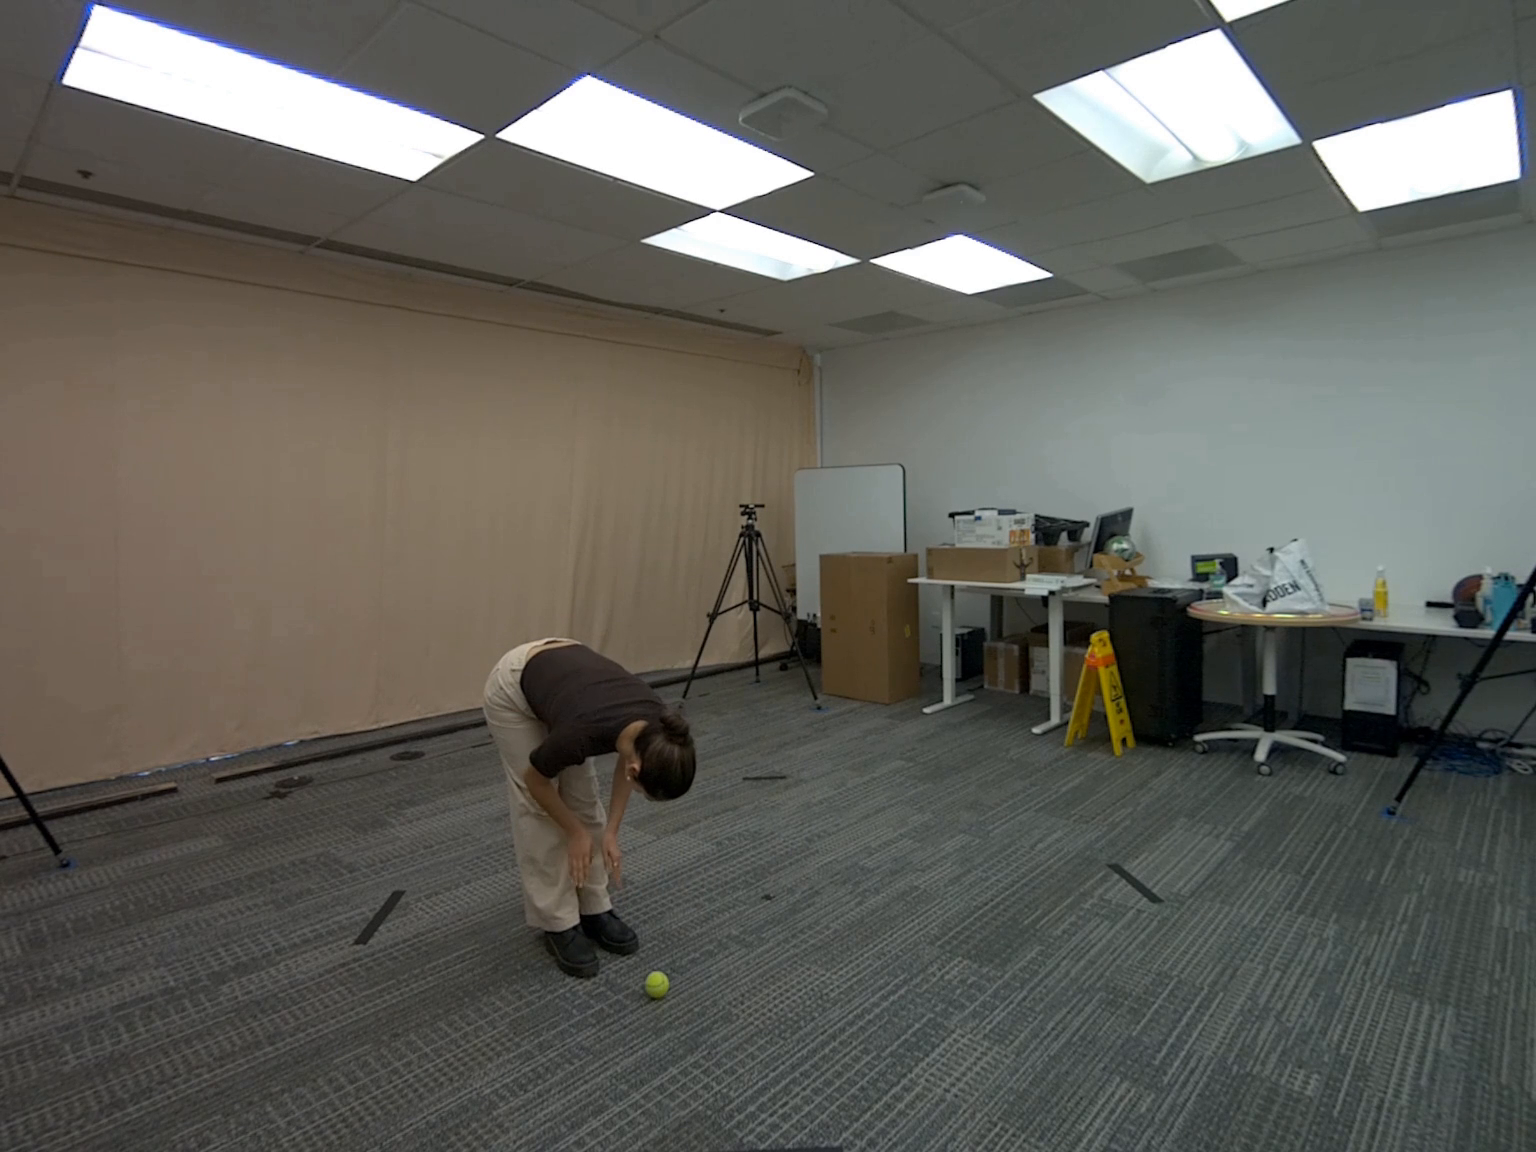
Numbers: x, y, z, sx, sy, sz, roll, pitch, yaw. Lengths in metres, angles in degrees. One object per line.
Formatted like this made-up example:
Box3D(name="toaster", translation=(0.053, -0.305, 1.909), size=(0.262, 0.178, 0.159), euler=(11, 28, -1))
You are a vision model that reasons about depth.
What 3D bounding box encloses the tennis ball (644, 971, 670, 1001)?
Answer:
Box3D(name="tennis ball", translation=(-0.314, 1.162, 2.391), size=(0.066, 0.066, 0.067), euler=(-1, 4, -2))
